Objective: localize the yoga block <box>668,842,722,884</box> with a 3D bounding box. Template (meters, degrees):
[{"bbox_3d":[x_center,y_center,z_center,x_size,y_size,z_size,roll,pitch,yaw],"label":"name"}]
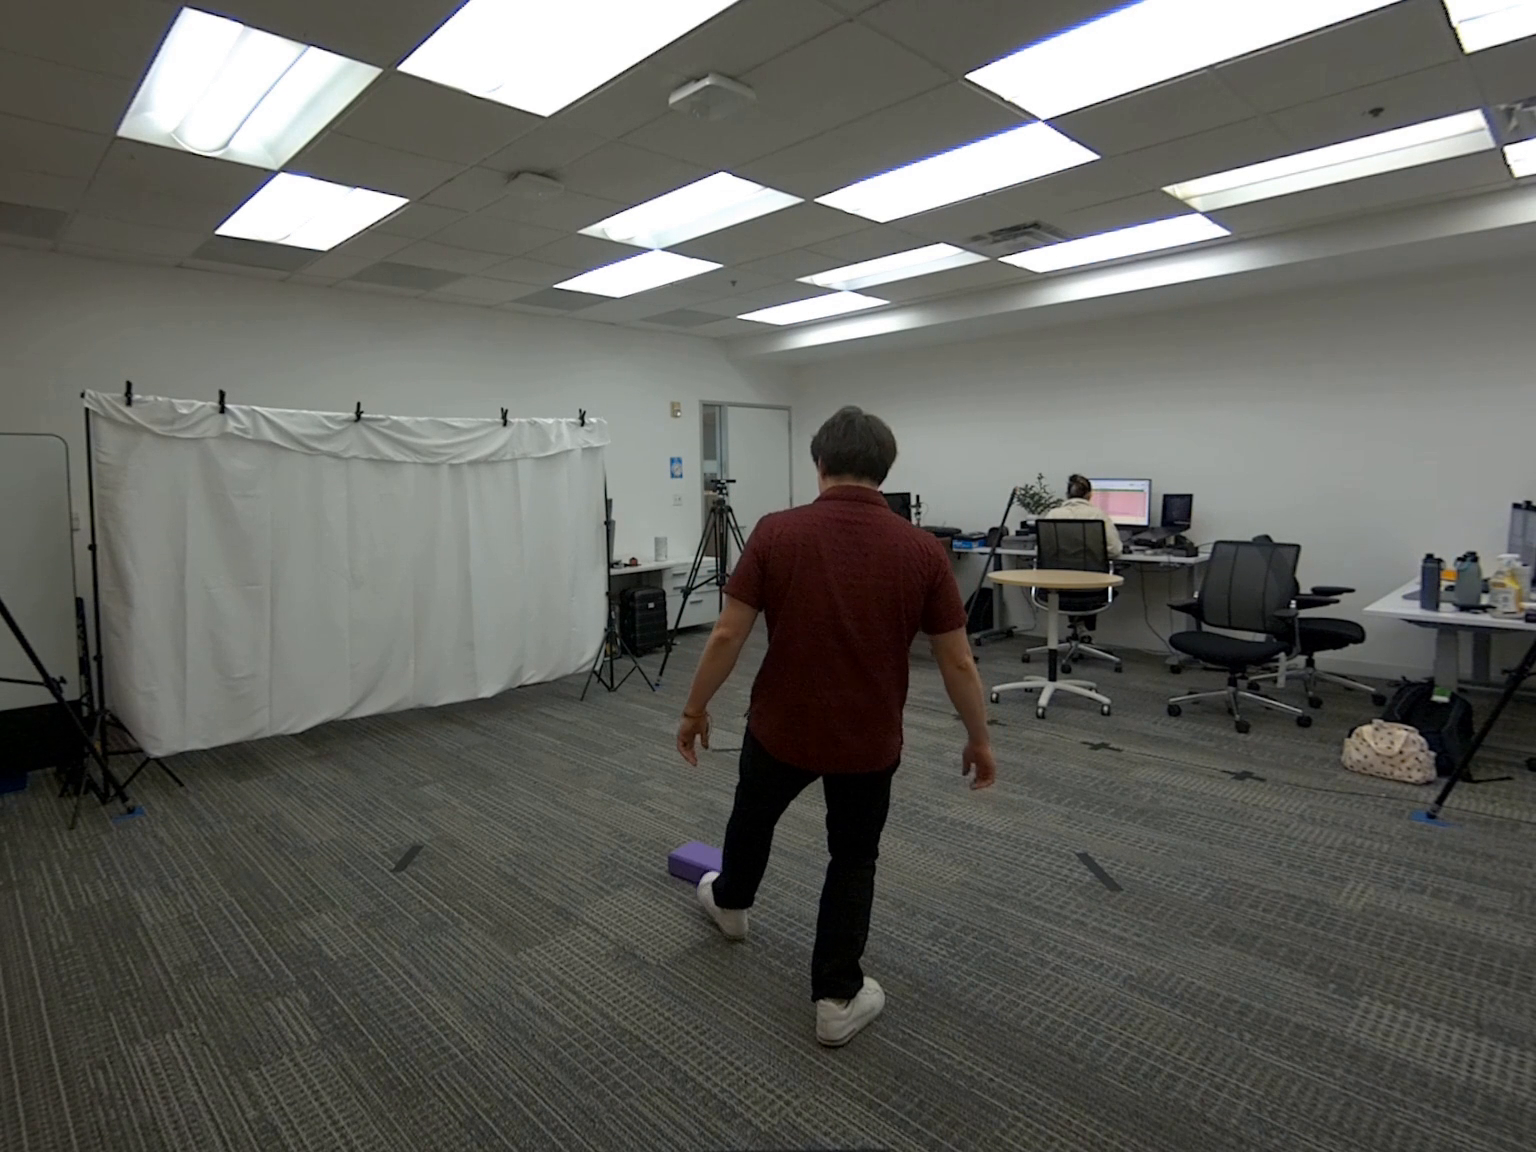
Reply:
[{"bbox_3d":[-0.223,1.020,3.020,0.236,0.076,0.145,4,7,38],"label":"yoga block"}]
